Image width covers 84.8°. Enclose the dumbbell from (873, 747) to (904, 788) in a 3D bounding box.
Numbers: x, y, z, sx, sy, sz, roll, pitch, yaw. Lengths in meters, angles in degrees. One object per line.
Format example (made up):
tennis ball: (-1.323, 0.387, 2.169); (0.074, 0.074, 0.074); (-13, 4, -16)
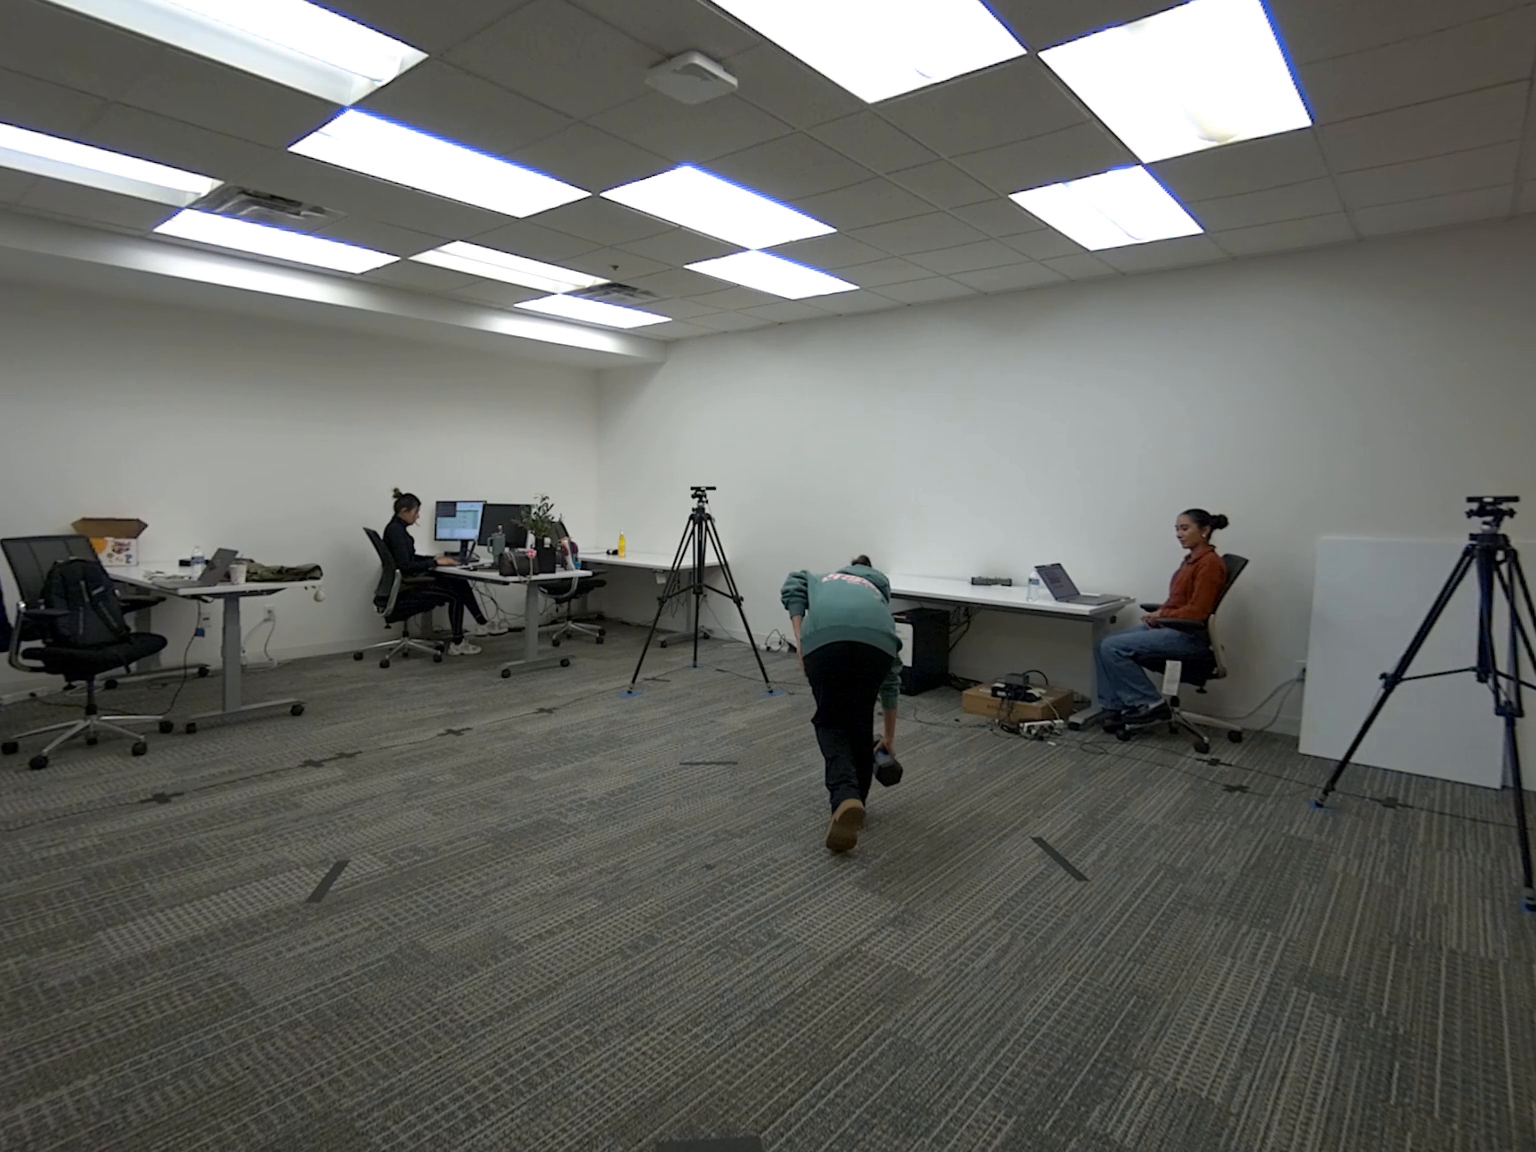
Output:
dumbbell: (0.483, 0.792, 3.688); (0.108, 0.122, 0.298); (13, 12, -8)
